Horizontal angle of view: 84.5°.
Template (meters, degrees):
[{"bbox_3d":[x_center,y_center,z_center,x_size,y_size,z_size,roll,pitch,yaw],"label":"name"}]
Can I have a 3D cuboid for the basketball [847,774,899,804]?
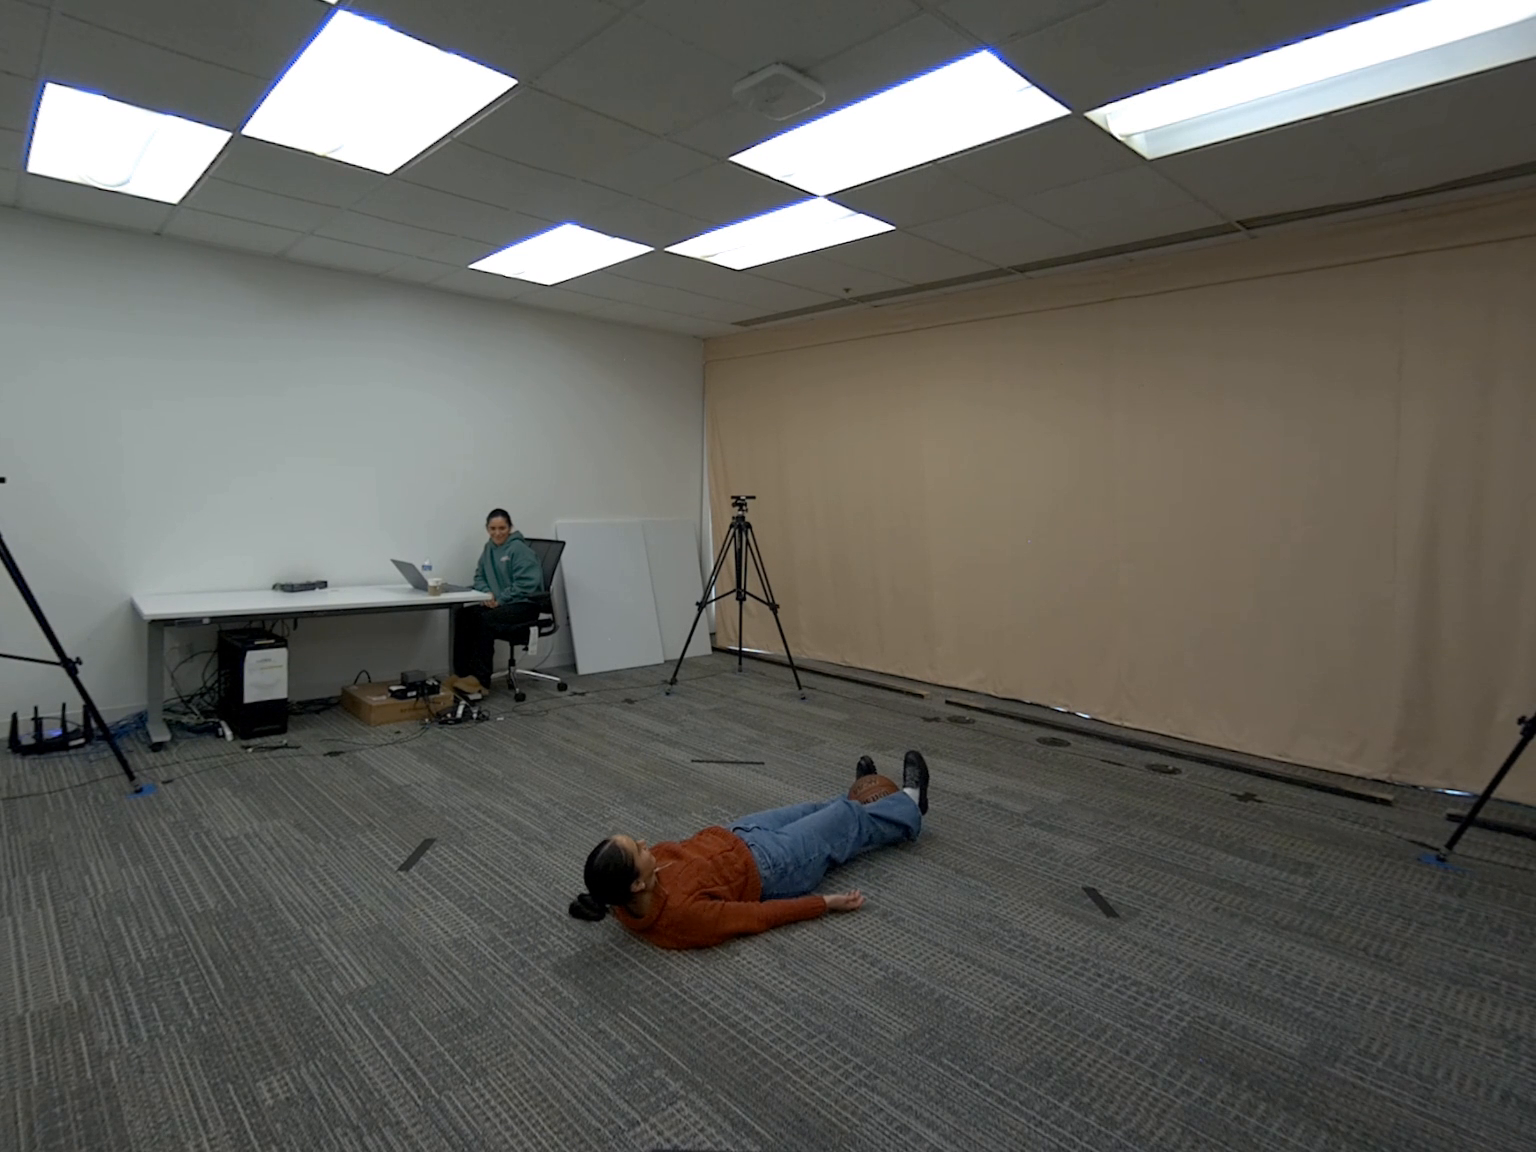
[{"bbox_3d":[0.454,0.964,3.554,0.236,0.235,0.237,1,4,-1],"label":"basketball"}]
